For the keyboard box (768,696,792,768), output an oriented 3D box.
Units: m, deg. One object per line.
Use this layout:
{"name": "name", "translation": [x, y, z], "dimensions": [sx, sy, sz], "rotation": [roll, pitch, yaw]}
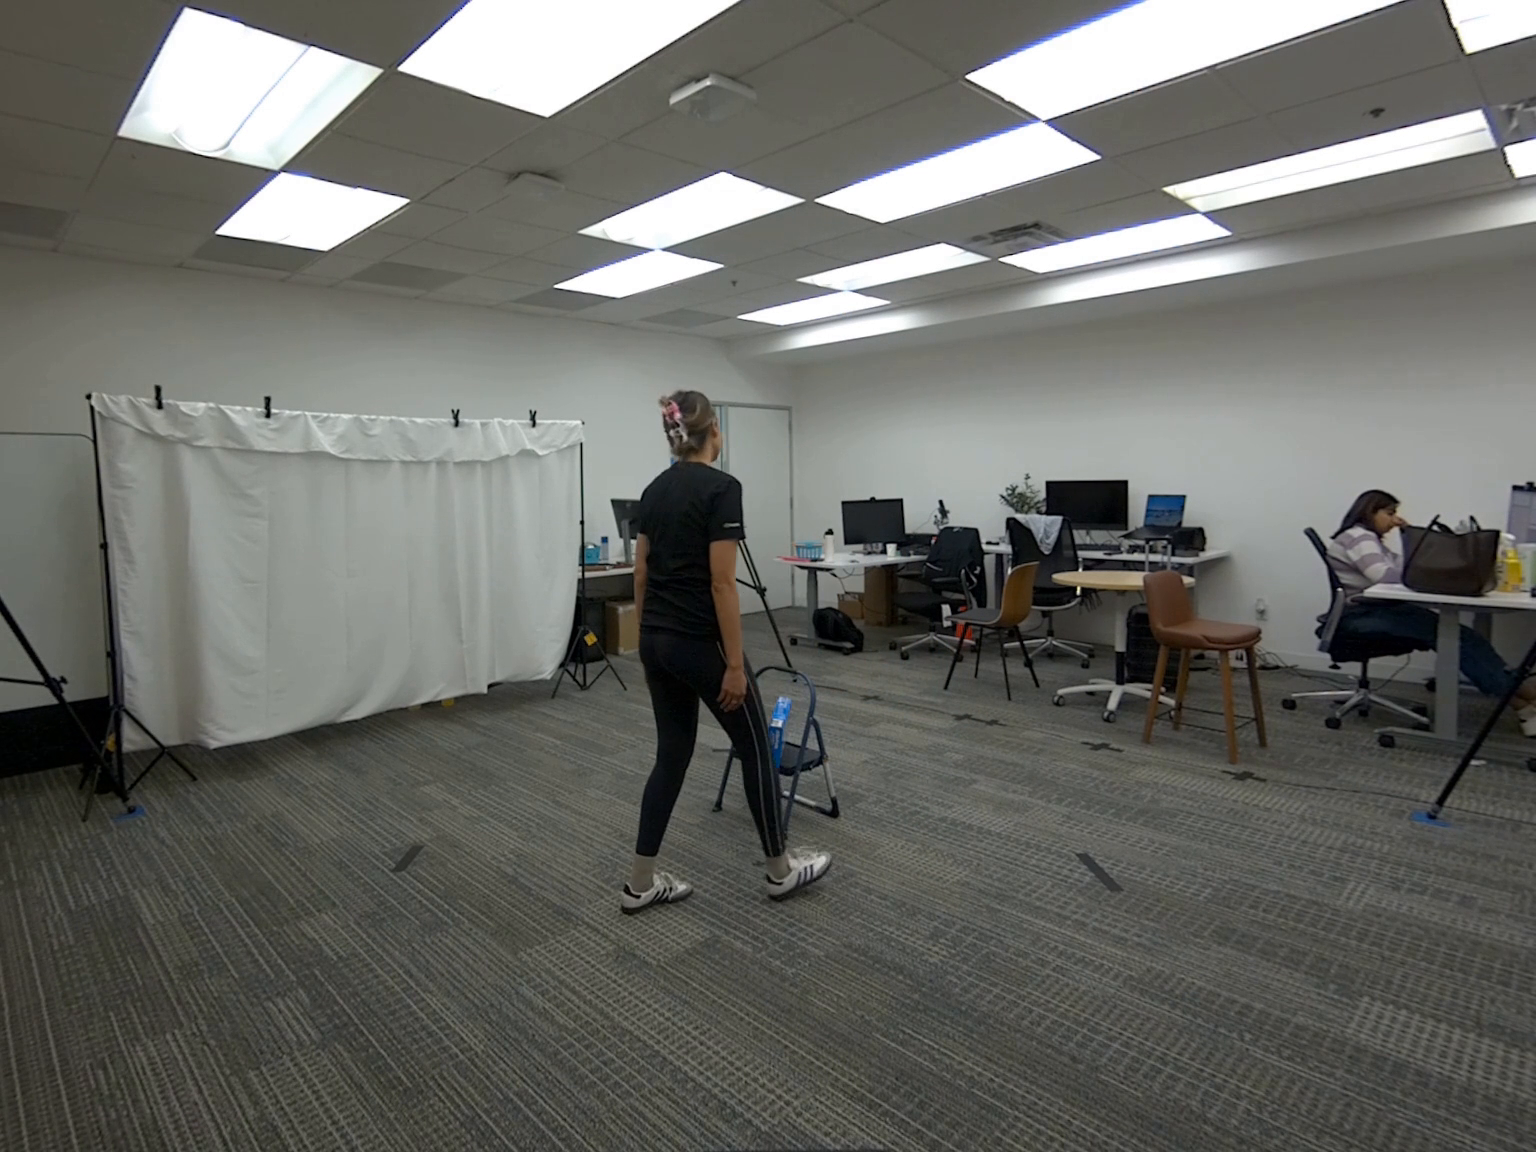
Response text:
{"name": "keyboard box", "translation": [0.046, 0.648, 3.560], "dimensions": [0.059, 0.175, 0.436], "rotation": [5, 7, 5]}
